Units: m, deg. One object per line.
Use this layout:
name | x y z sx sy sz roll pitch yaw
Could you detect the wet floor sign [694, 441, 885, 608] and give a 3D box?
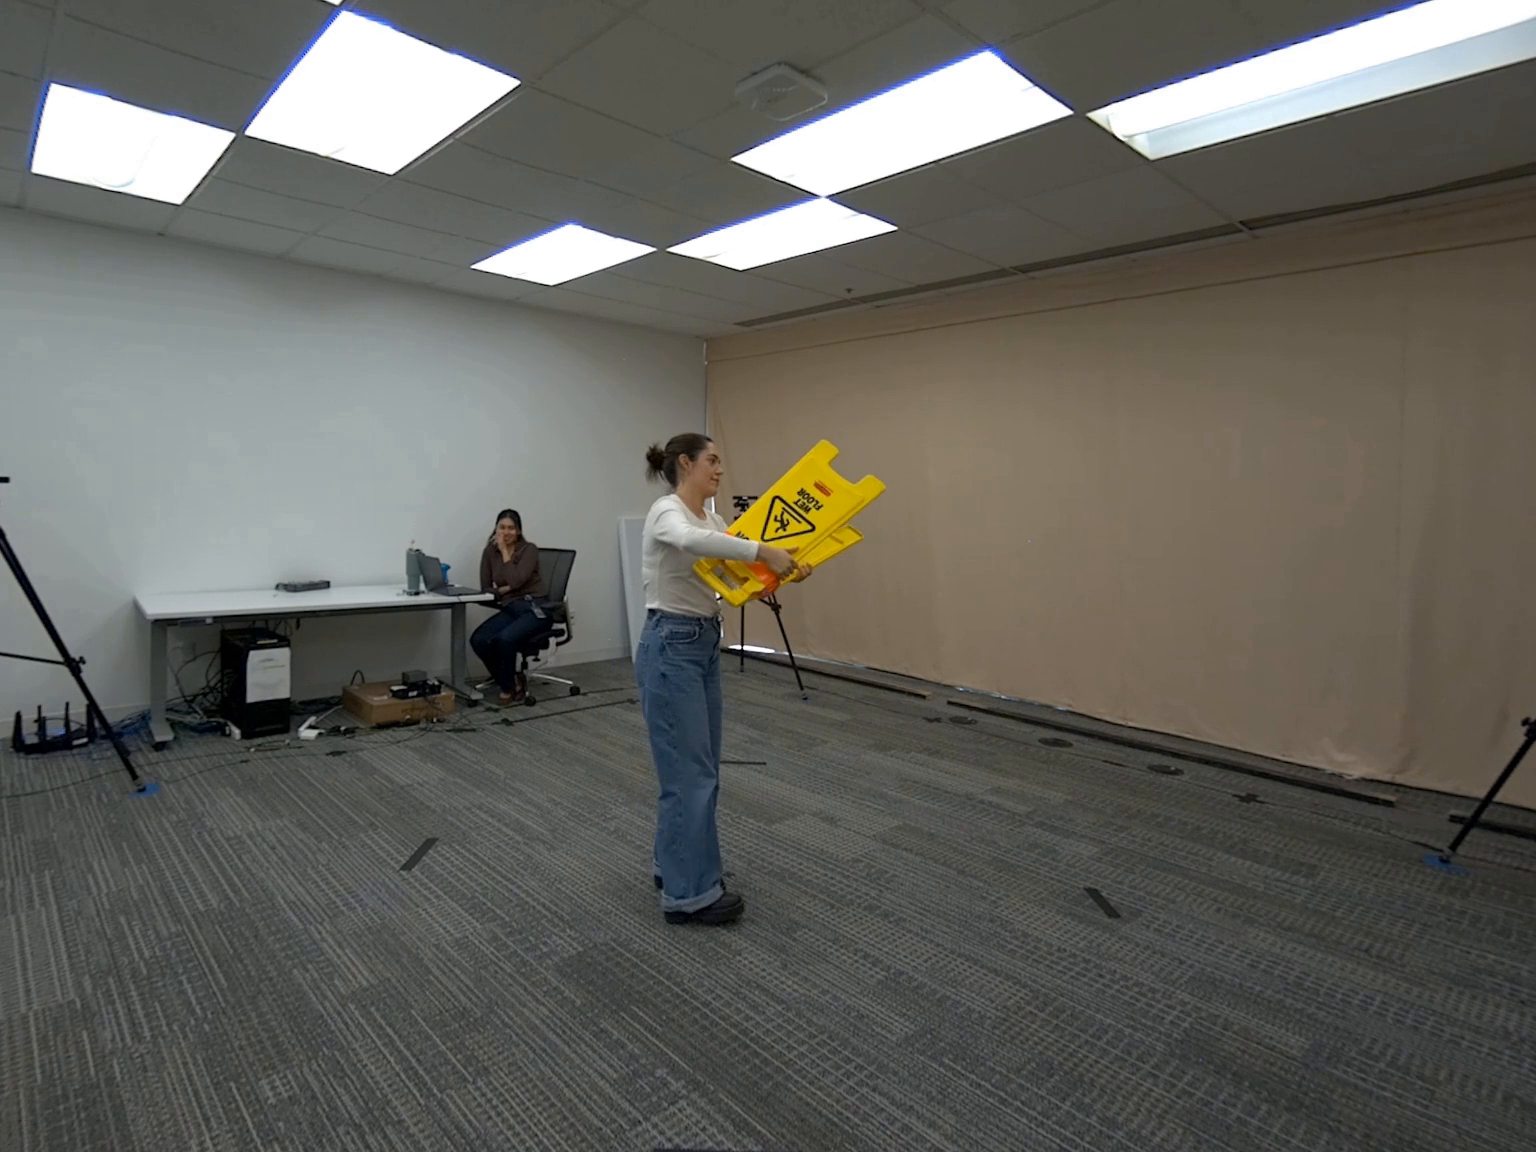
wet floor sign | 0.043 -0.123 2.728 0.288 0.285 0.643 40 56 18
